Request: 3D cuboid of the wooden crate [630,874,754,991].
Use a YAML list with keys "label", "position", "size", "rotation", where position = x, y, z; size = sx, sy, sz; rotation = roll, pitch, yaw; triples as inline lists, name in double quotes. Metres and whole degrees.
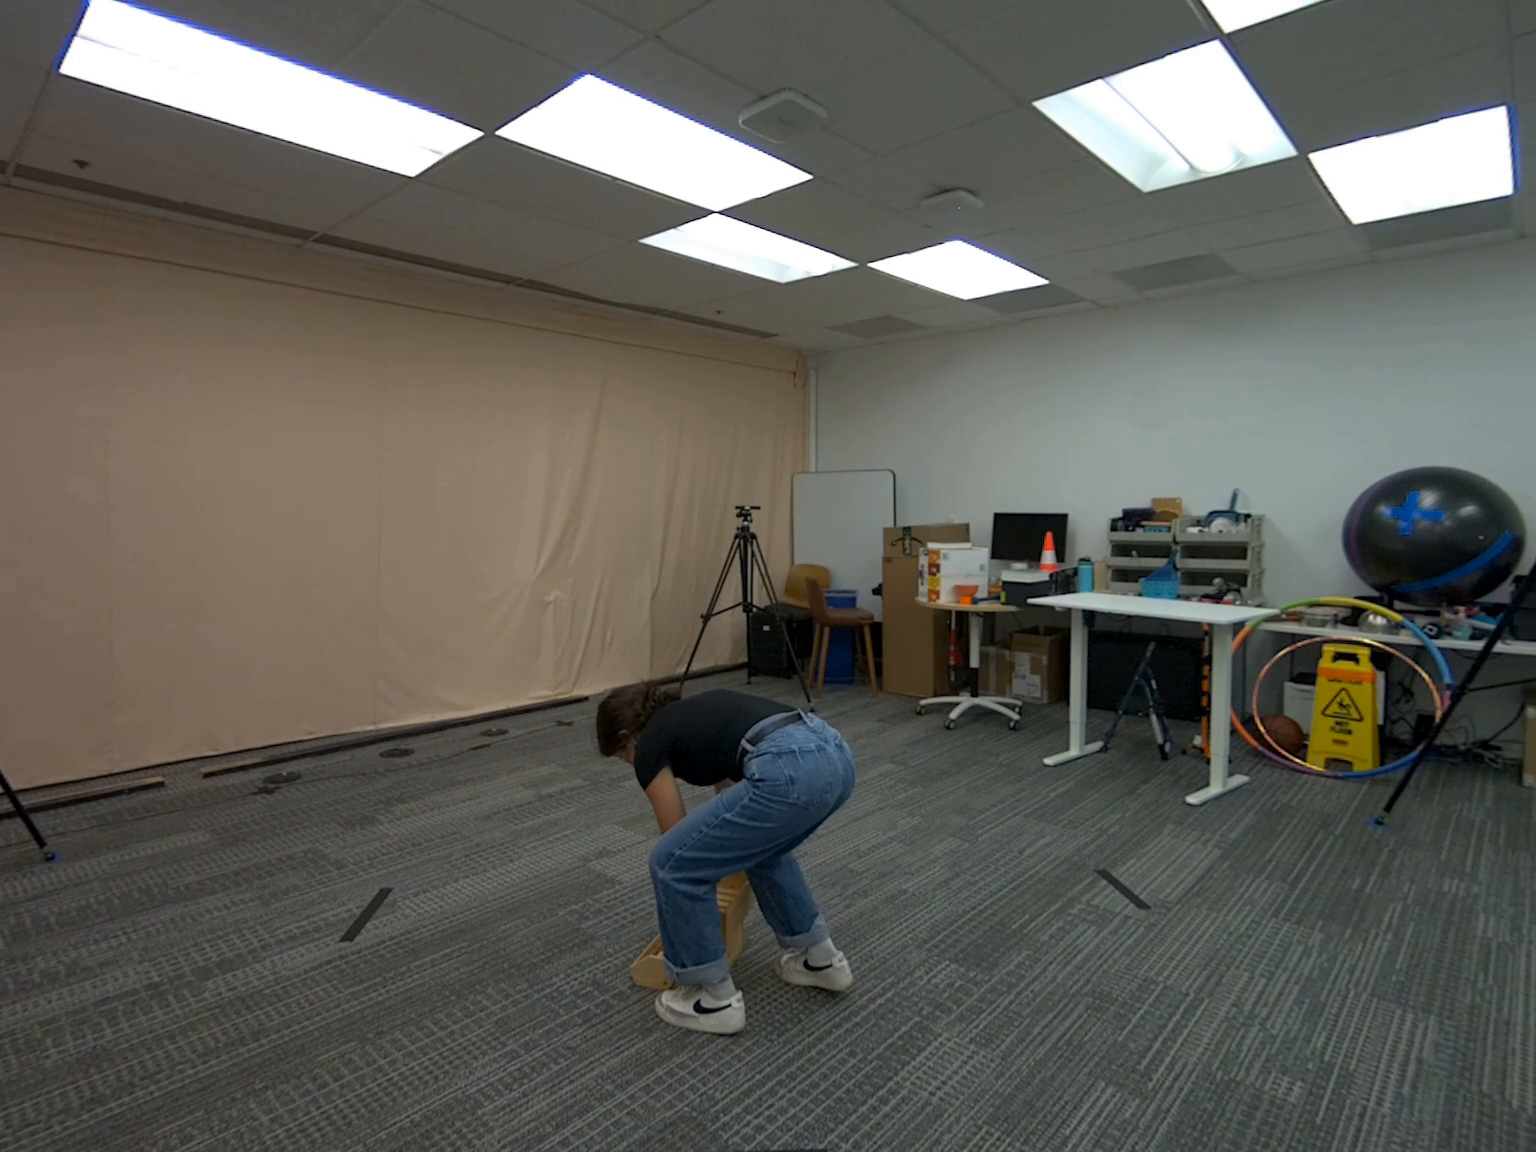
- label: "wooden crate"
  position: [-0.220, 1.055, 2.540]
  size: [0.308, 0.273, 0.318]
  rotation: [2, 4, 18]
